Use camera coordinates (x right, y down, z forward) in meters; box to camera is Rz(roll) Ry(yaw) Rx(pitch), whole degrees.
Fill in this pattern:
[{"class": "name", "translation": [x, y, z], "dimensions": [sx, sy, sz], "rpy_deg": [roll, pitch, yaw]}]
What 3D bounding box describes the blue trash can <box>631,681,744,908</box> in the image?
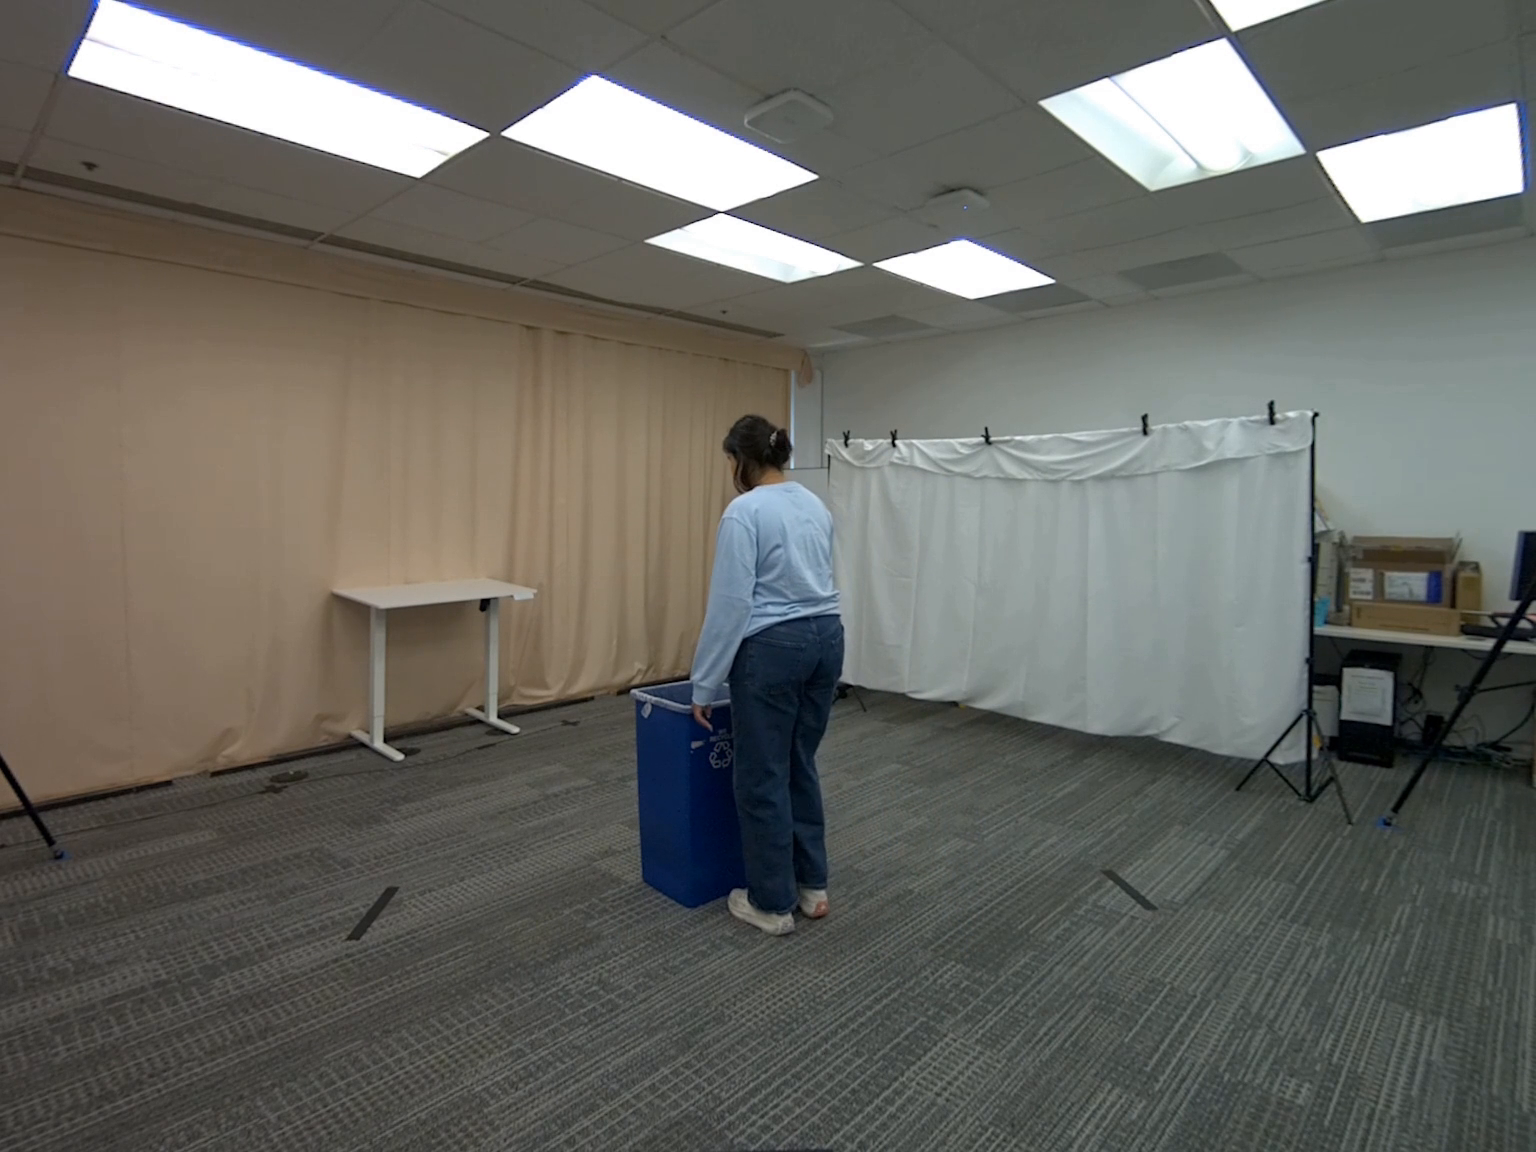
[{"class": "blue trash can", "translation": [-0.258, 0.778, 3.105], "dimensions": [0.363, 0.712, 0.391], "rpy_deg": [-3, 5, -42]}]
